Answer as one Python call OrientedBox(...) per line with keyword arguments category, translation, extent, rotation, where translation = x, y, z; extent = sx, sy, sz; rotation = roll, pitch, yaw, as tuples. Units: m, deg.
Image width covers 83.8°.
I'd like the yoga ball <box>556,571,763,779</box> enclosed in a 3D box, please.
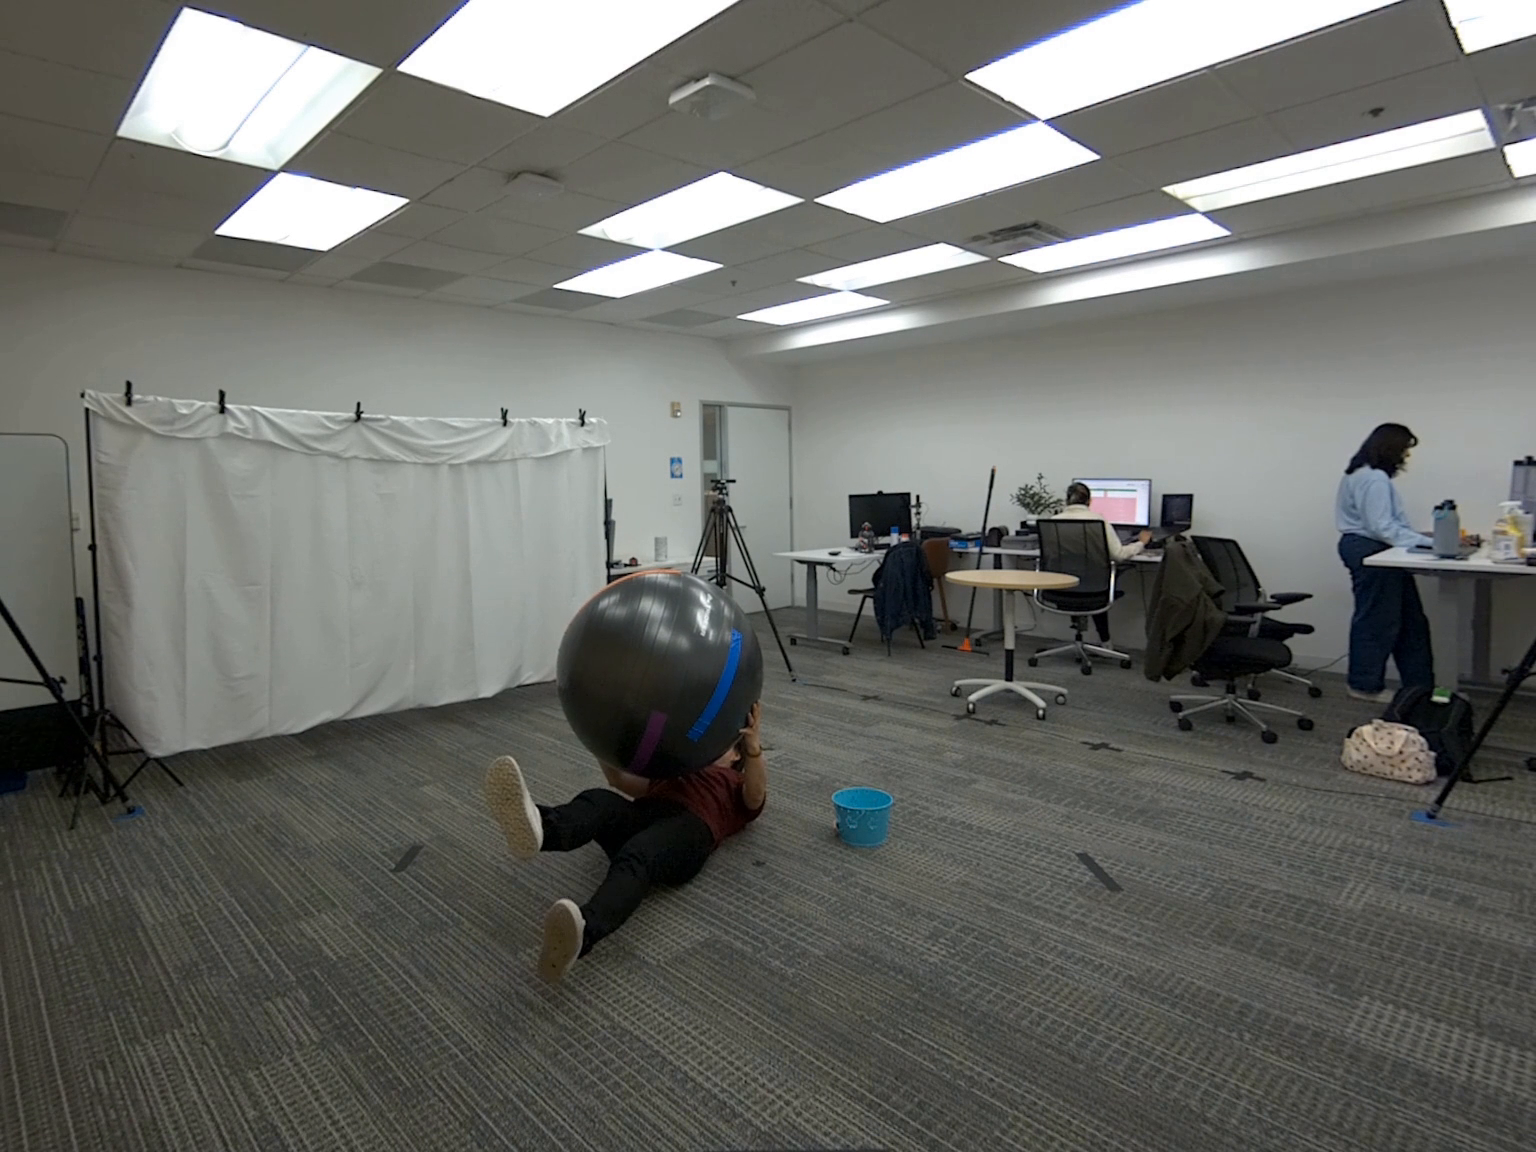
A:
OrientedBox(category="yoga ball", translation=(-0.400, 0.357, 3.165), extent=(0.757, 0.755, 0.762), rotation=(-1, 5, -2))
